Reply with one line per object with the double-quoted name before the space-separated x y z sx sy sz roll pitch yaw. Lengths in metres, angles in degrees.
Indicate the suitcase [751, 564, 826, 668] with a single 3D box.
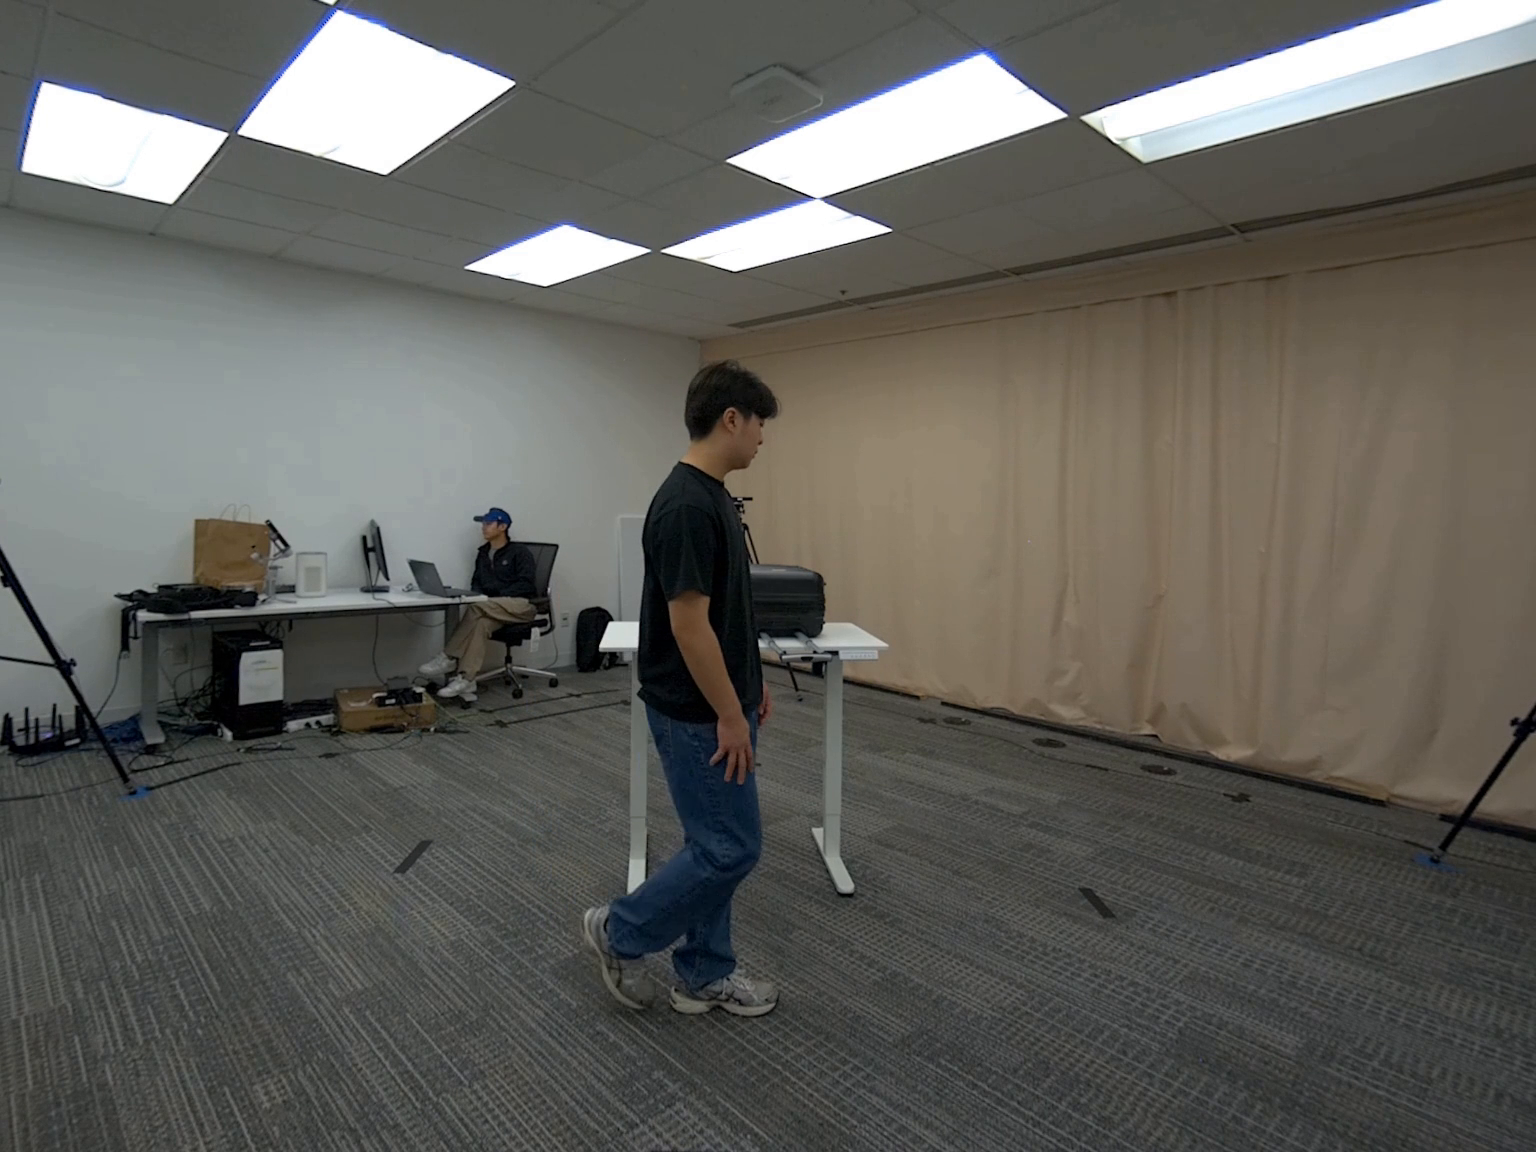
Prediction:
"suitcase" 0.039 0.105 3.097 0.381 0.257 0.986 1 2 -9
